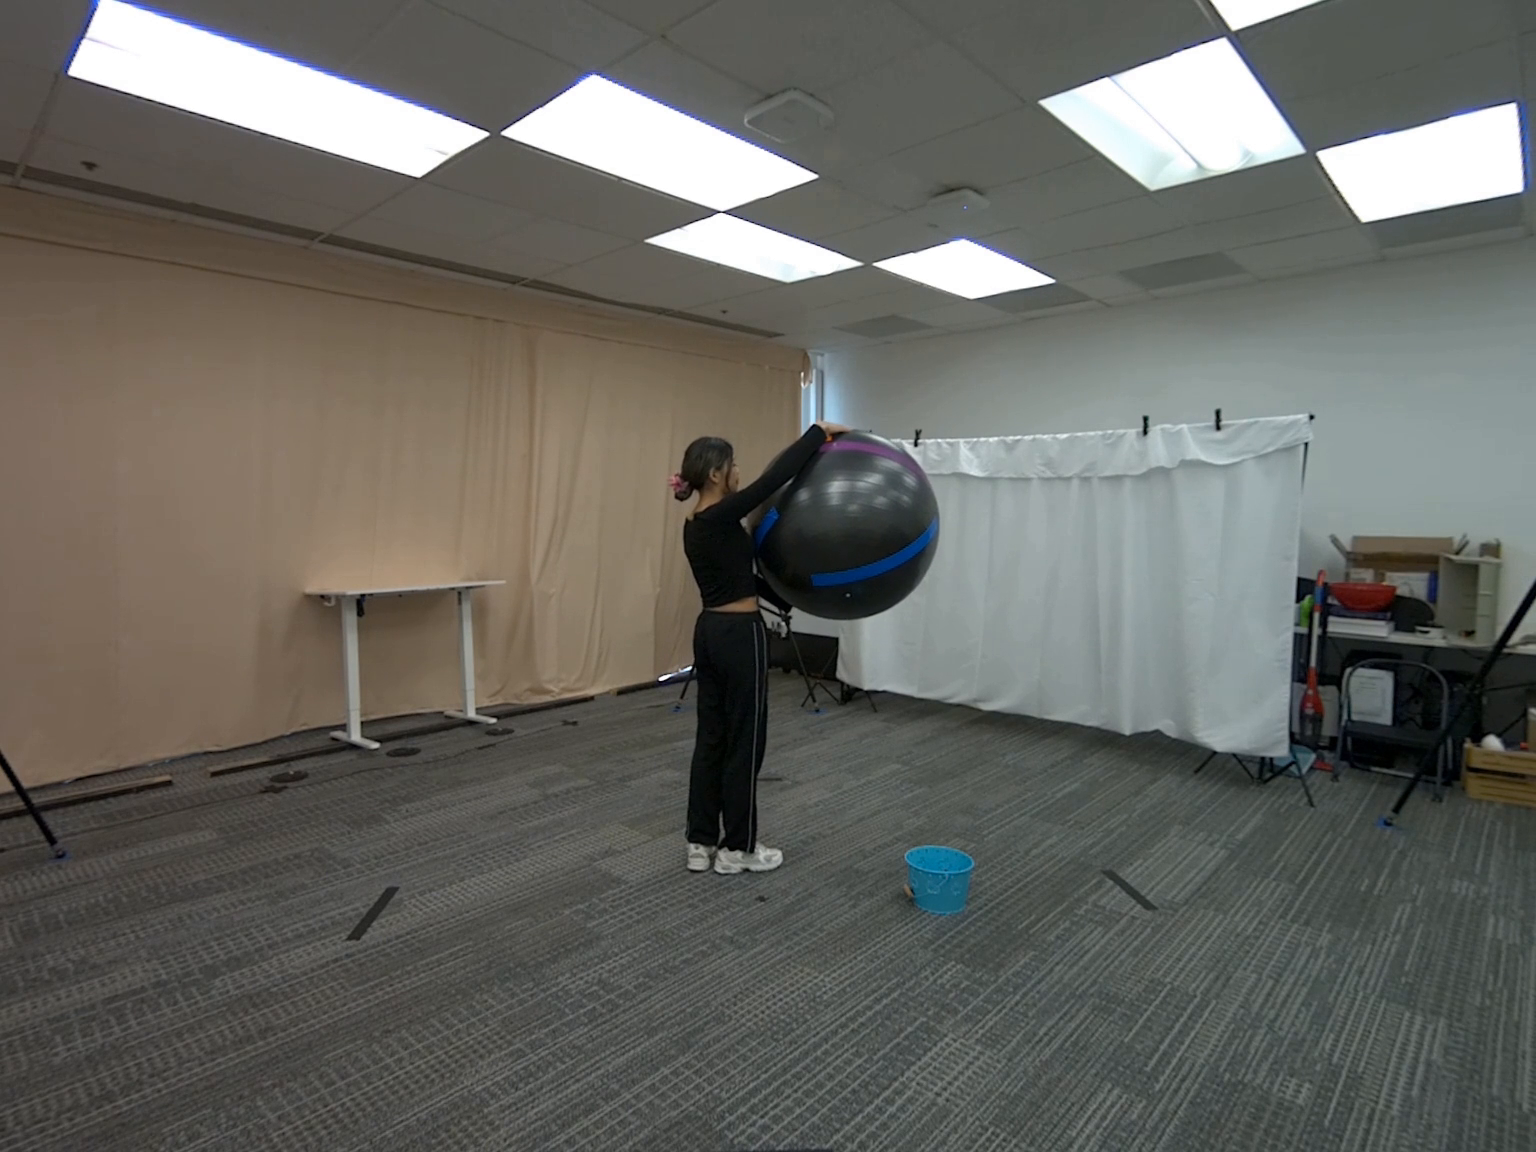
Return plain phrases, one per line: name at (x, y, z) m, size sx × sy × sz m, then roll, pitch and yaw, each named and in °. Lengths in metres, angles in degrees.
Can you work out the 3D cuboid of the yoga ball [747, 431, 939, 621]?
yoga ball at (0.291, -0.203, 3.348) m, size 0.757 × 0.756 × 0.760 m, roll 0°, pitch 4°, yaw -2°
